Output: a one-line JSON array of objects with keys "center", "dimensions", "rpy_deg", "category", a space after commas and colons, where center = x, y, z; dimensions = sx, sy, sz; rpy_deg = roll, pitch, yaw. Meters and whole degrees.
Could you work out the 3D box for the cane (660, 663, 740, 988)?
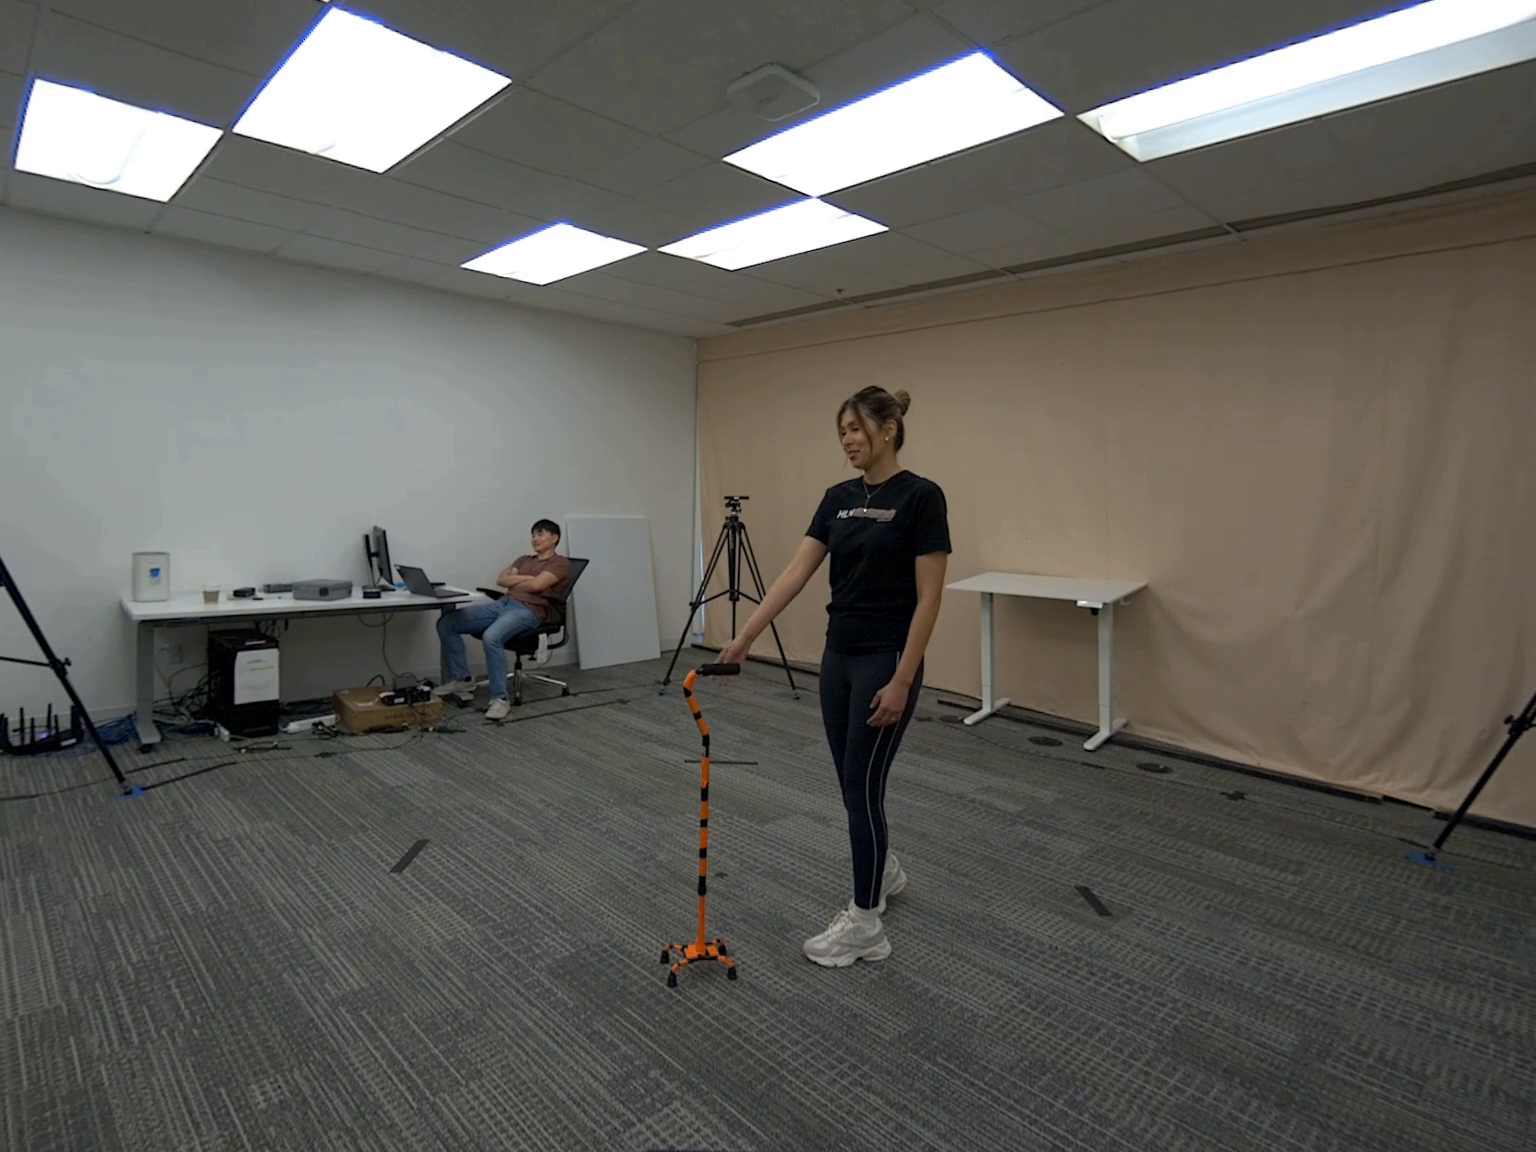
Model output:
[{"center": [-0.194, 0.709, 2.449], "dimensions": [0.204, 0.906, 0.154], "rpy_deg": [1, 3, -15], "category": "cane"}]
